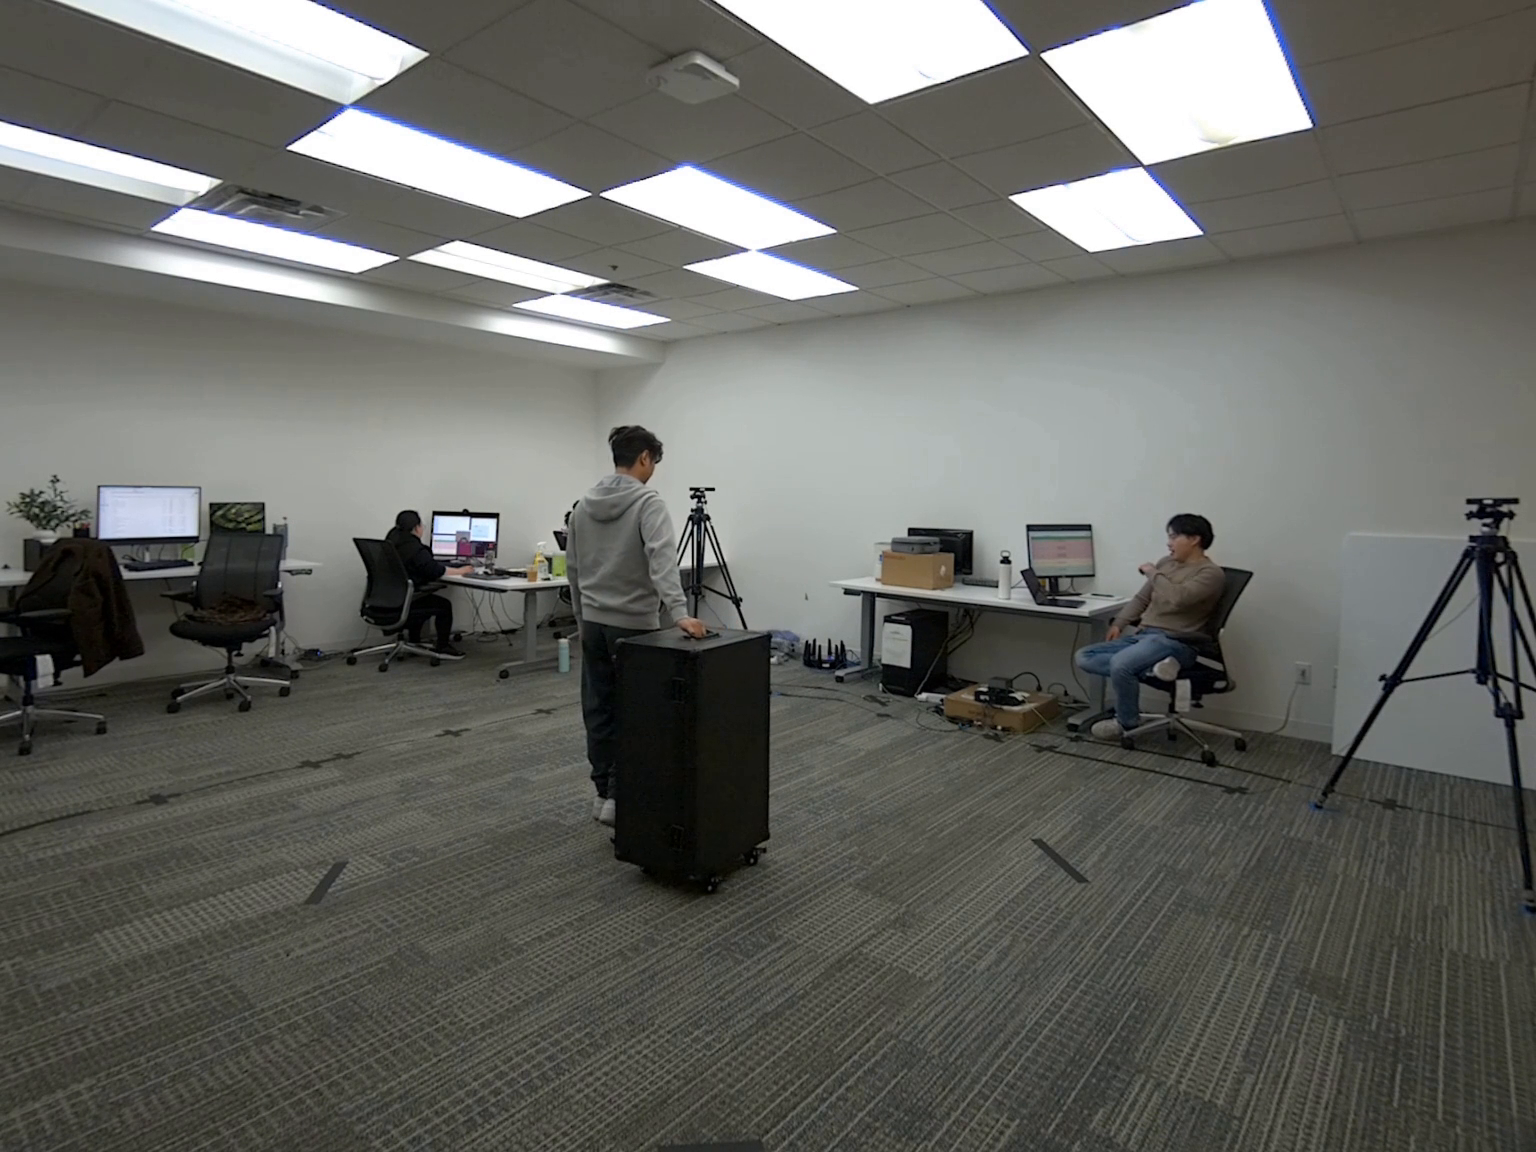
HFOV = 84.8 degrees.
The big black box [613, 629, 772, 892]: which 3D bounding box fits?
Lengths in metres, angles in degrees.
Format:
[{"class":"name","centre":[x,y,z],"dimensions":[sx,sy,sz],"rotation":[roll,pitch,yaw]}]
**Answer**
[{"class":"big black box","centre":[-0.283,0.641,3.099],"dimensions":[0.408,0.859,0.507],"rotation":[1,3,33]}]
